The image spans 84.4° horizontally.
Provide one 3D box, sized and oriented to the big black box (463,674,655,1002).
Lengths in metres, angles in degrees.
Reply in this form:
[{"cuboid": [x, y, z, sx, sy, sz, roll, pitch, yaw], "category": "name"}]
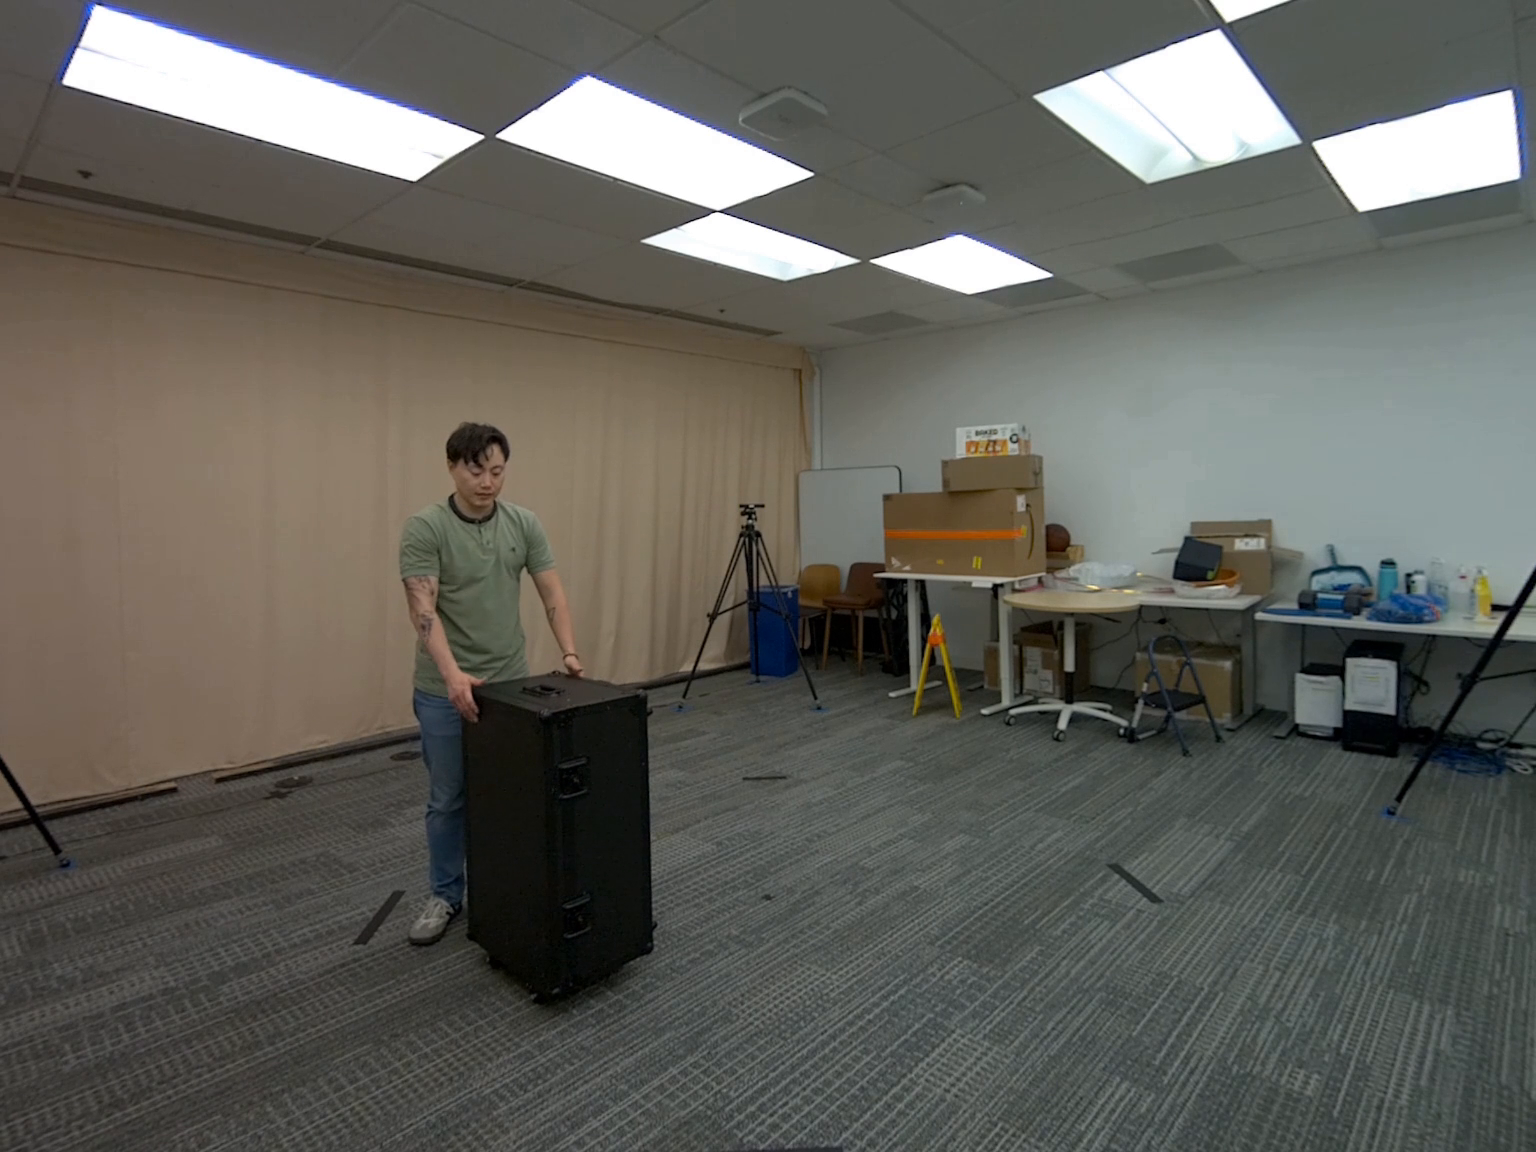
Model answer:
[{"cuboid": [-0.629, 0.767, 2.537, 0.538, 0.860, 0.384, 2, 3, 44], "category": "big black box"}]
